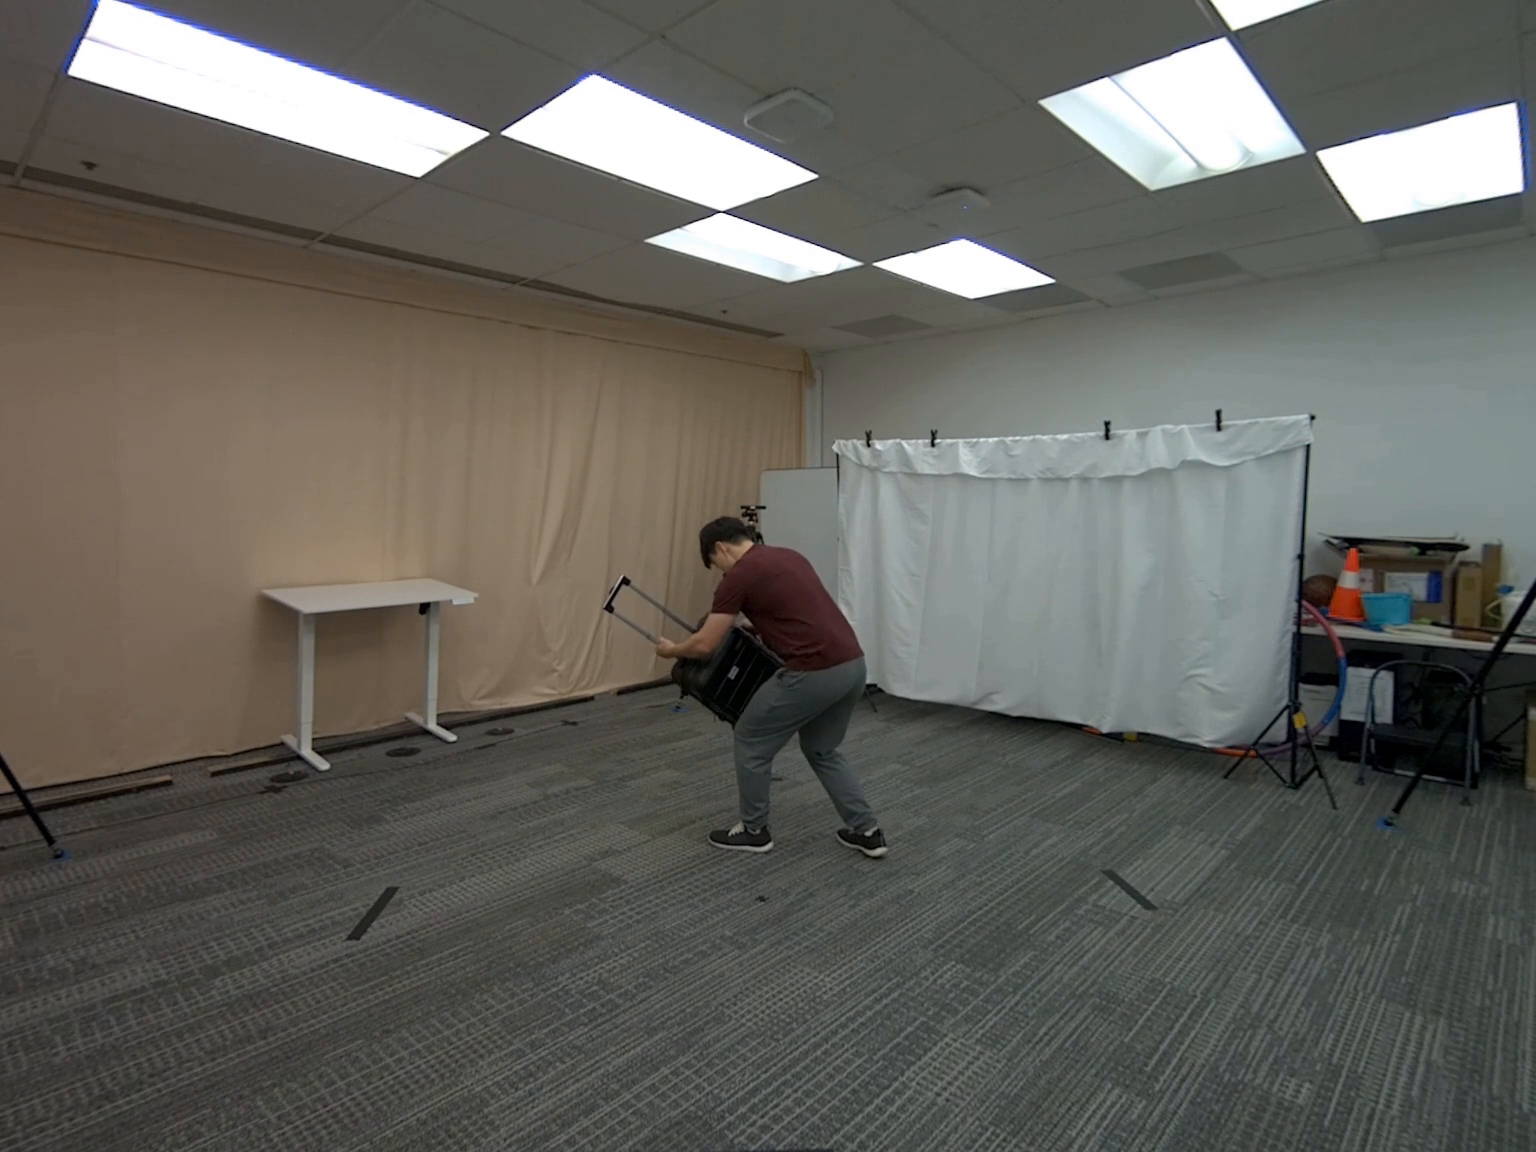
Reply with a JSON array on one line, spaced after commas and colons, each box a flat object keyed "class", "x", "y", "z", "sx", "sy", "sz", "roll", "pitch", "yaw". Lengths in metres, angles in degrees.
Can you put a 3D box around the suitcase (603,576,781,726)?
[{"class": "suitcase", "x": -0.256, "y": 0.329, "z": 3.592, "sx": 0.266, "sy": 0.383, "sz": 0.946, "roll": 17, "pitch": -23, "yaw": 52}]
